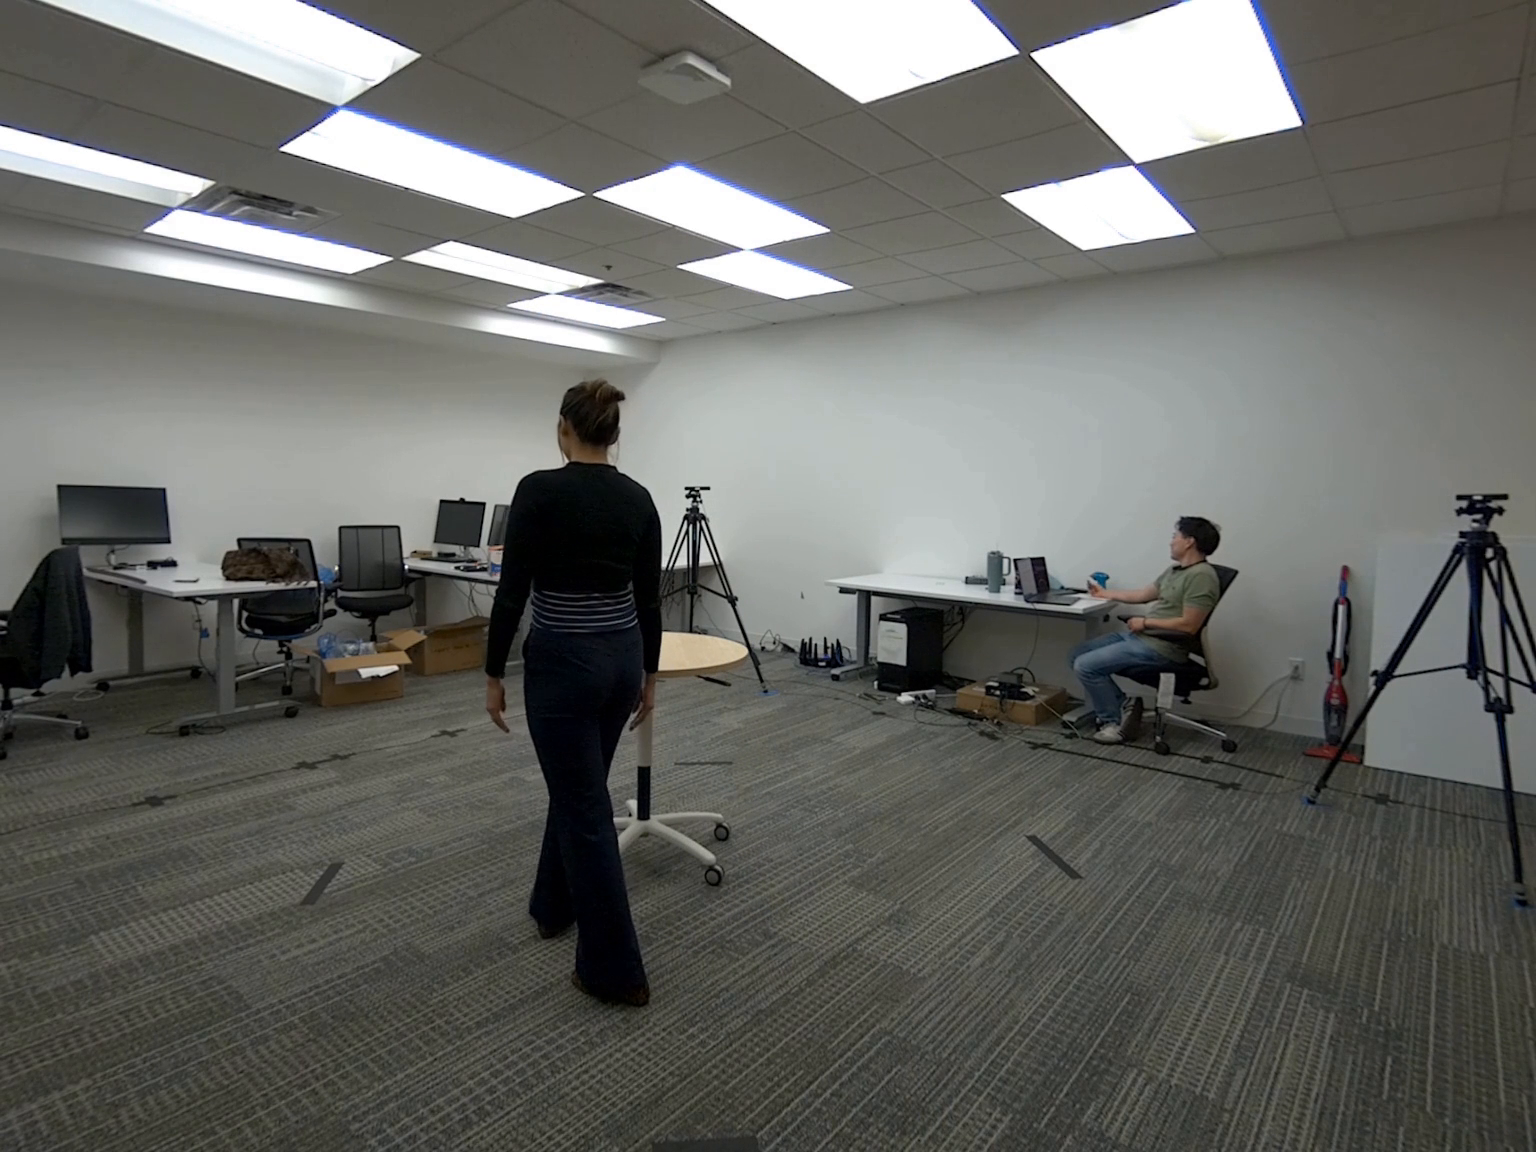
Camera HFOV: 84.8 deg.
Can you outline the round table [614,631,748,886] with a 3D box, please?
[{"bbox_3d":[-0.468,0.663,3.191,0.763,0.792,0.767,1,4,-2],"label":"round table"}]
